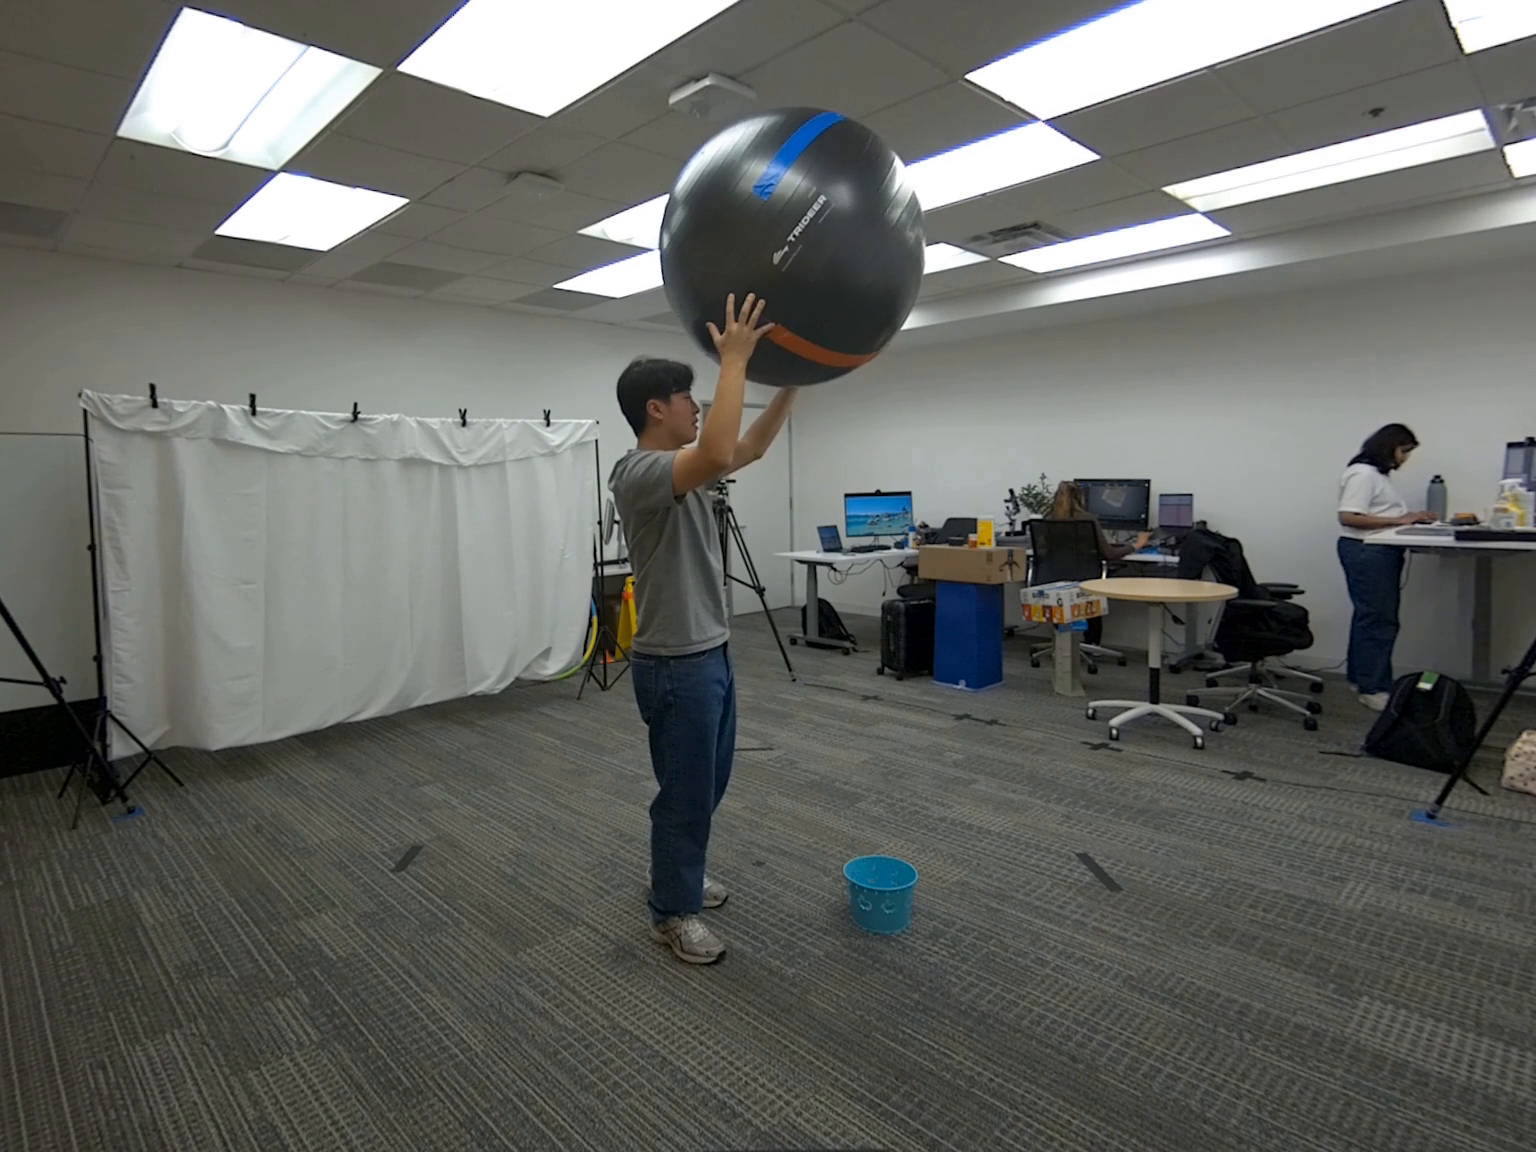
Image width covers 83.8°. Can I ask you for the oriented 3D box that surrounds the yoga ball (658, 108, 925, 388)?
[{"bbox_3d":[0.074,-0.918,2.443,0.757,0.755,0.762,-1,5,-2],"label":"yoga ball"}]
